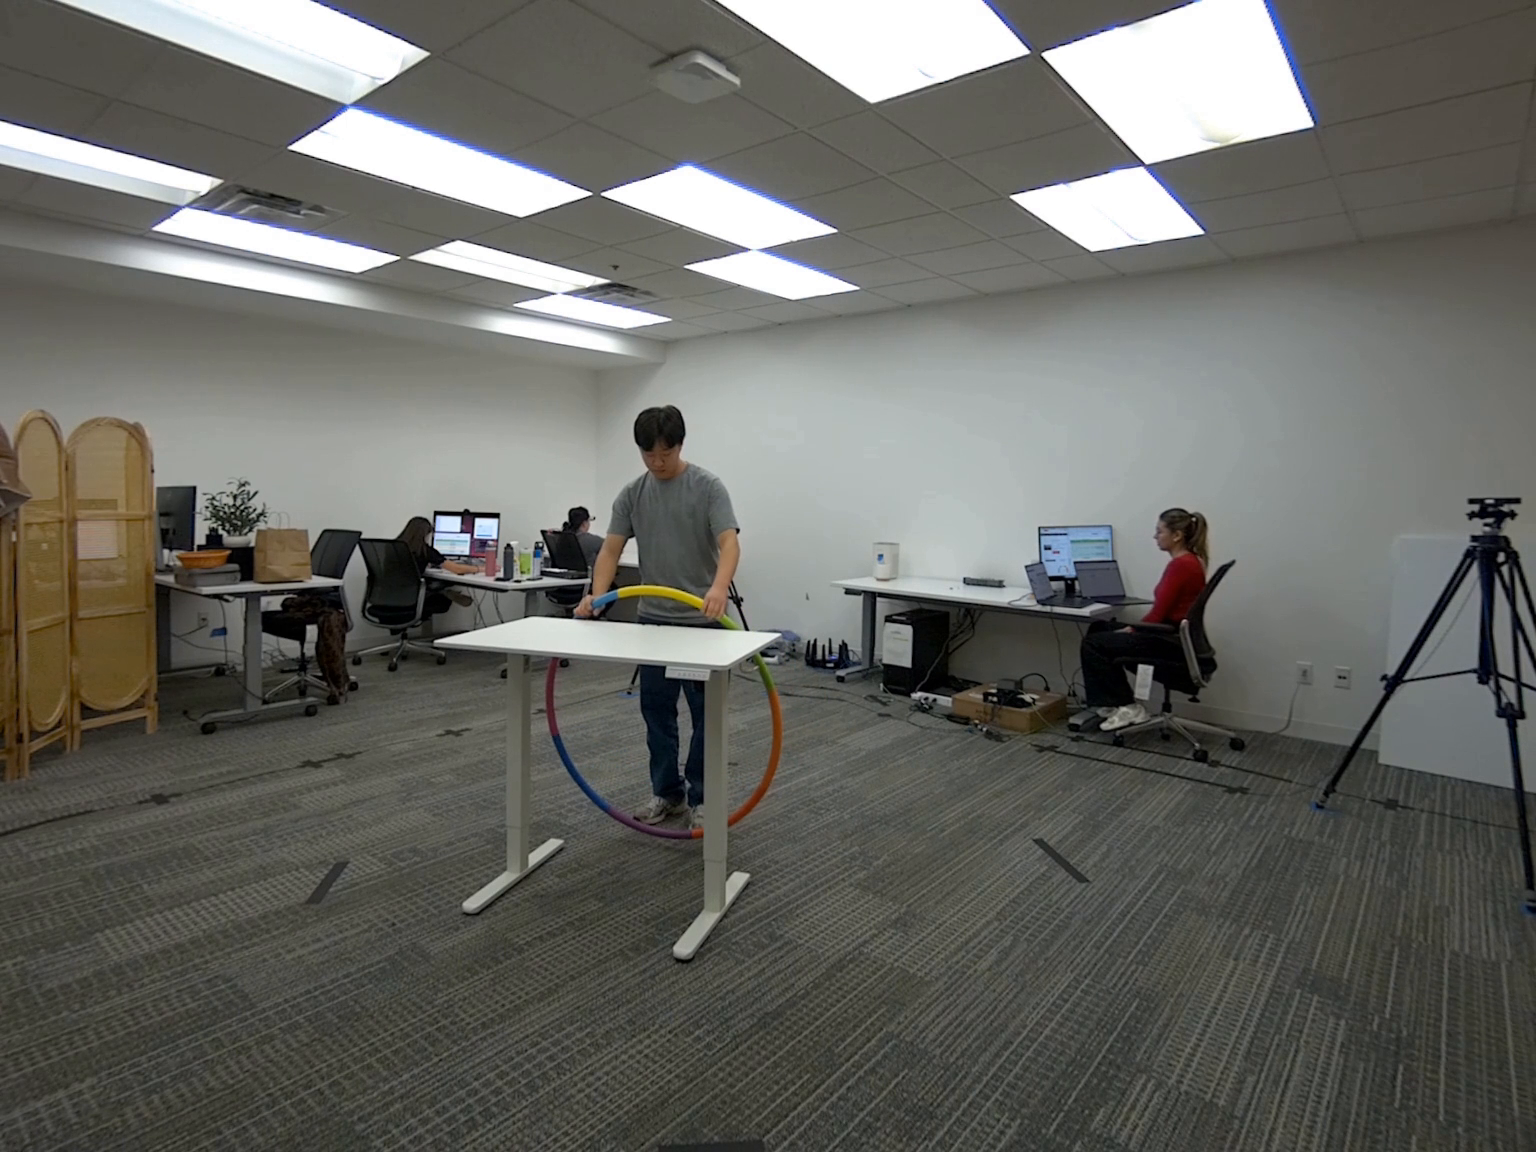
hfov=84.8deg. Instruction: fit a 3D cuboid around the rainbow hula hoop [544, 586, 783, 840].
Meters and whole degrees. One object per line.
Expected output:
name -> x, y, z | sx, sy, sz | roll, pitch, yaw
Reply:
rainbow hula hoop -> -0.428, 0.525, 3.222 | 1.000, 0.970, 0.035 | 3, 9, 20
